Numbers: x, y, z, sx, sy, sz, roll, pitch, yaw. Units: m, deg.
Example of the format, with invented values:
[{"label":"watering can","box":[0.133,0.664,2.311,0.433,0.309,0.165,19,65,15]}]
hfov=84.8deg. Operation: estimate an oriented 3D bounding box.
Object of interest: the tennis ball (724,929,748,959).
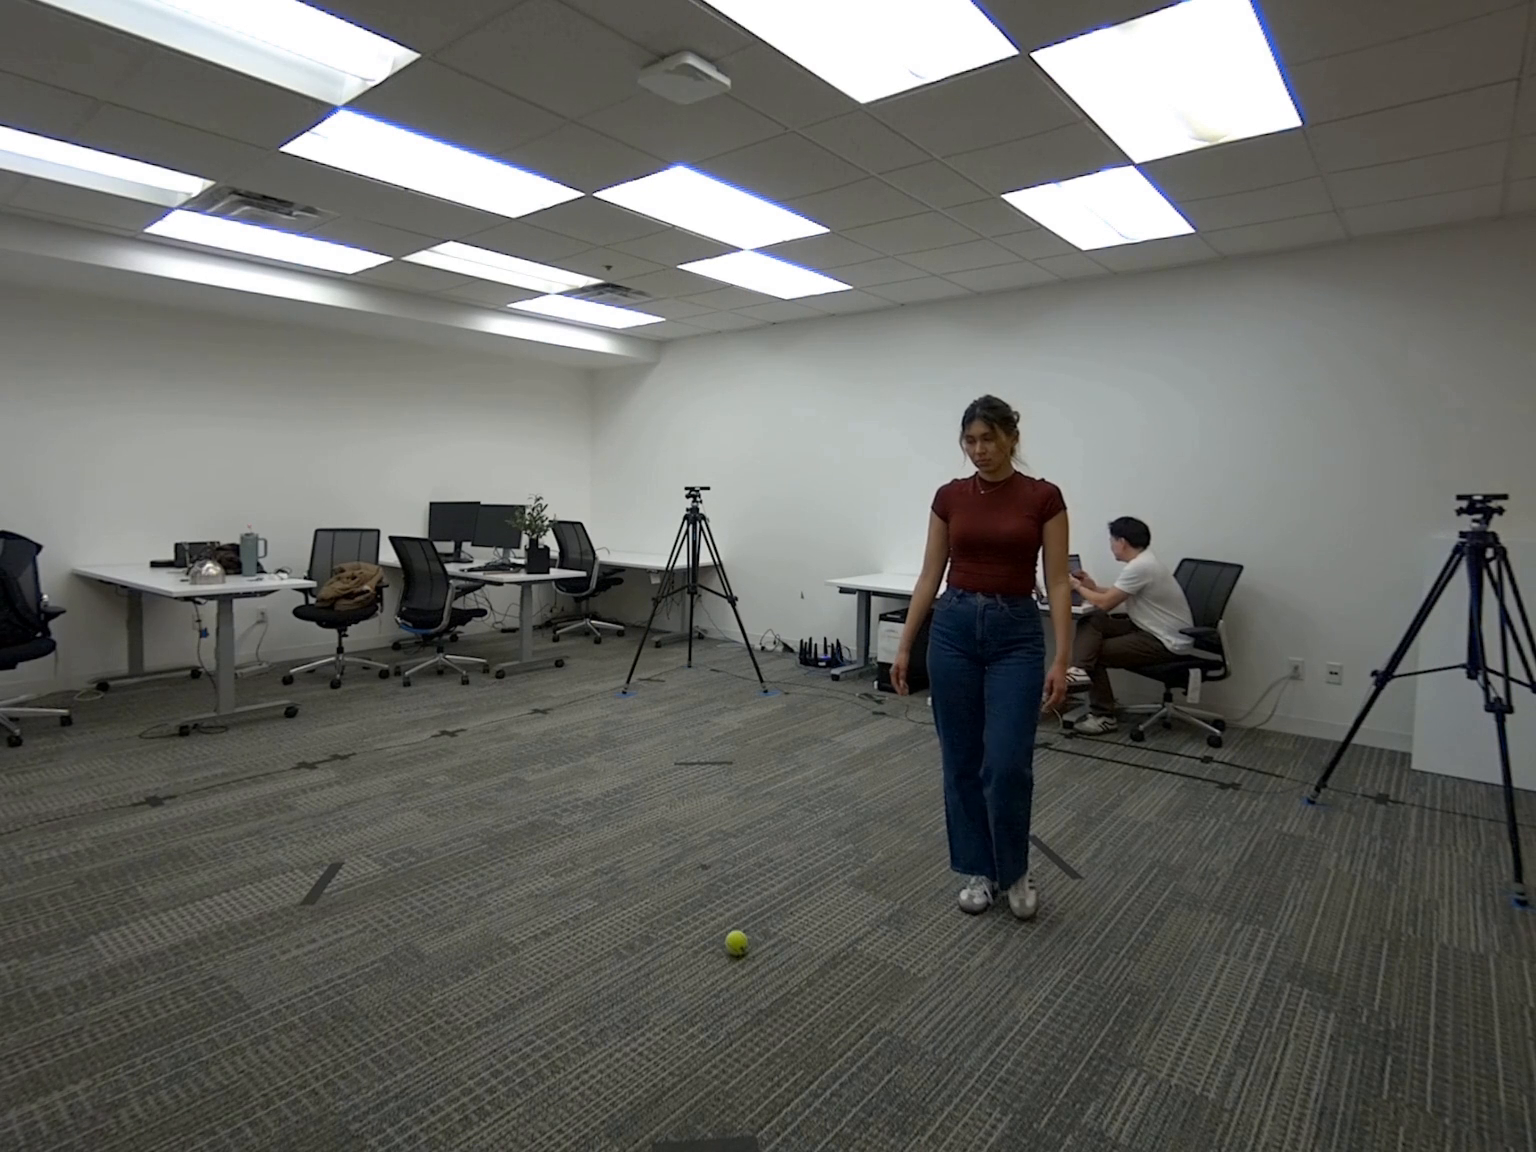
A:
[{"label":"tennis ball","box":[-0.095,1.084,2.544,0.066,0.066,0.067,1,4,-2]}]
